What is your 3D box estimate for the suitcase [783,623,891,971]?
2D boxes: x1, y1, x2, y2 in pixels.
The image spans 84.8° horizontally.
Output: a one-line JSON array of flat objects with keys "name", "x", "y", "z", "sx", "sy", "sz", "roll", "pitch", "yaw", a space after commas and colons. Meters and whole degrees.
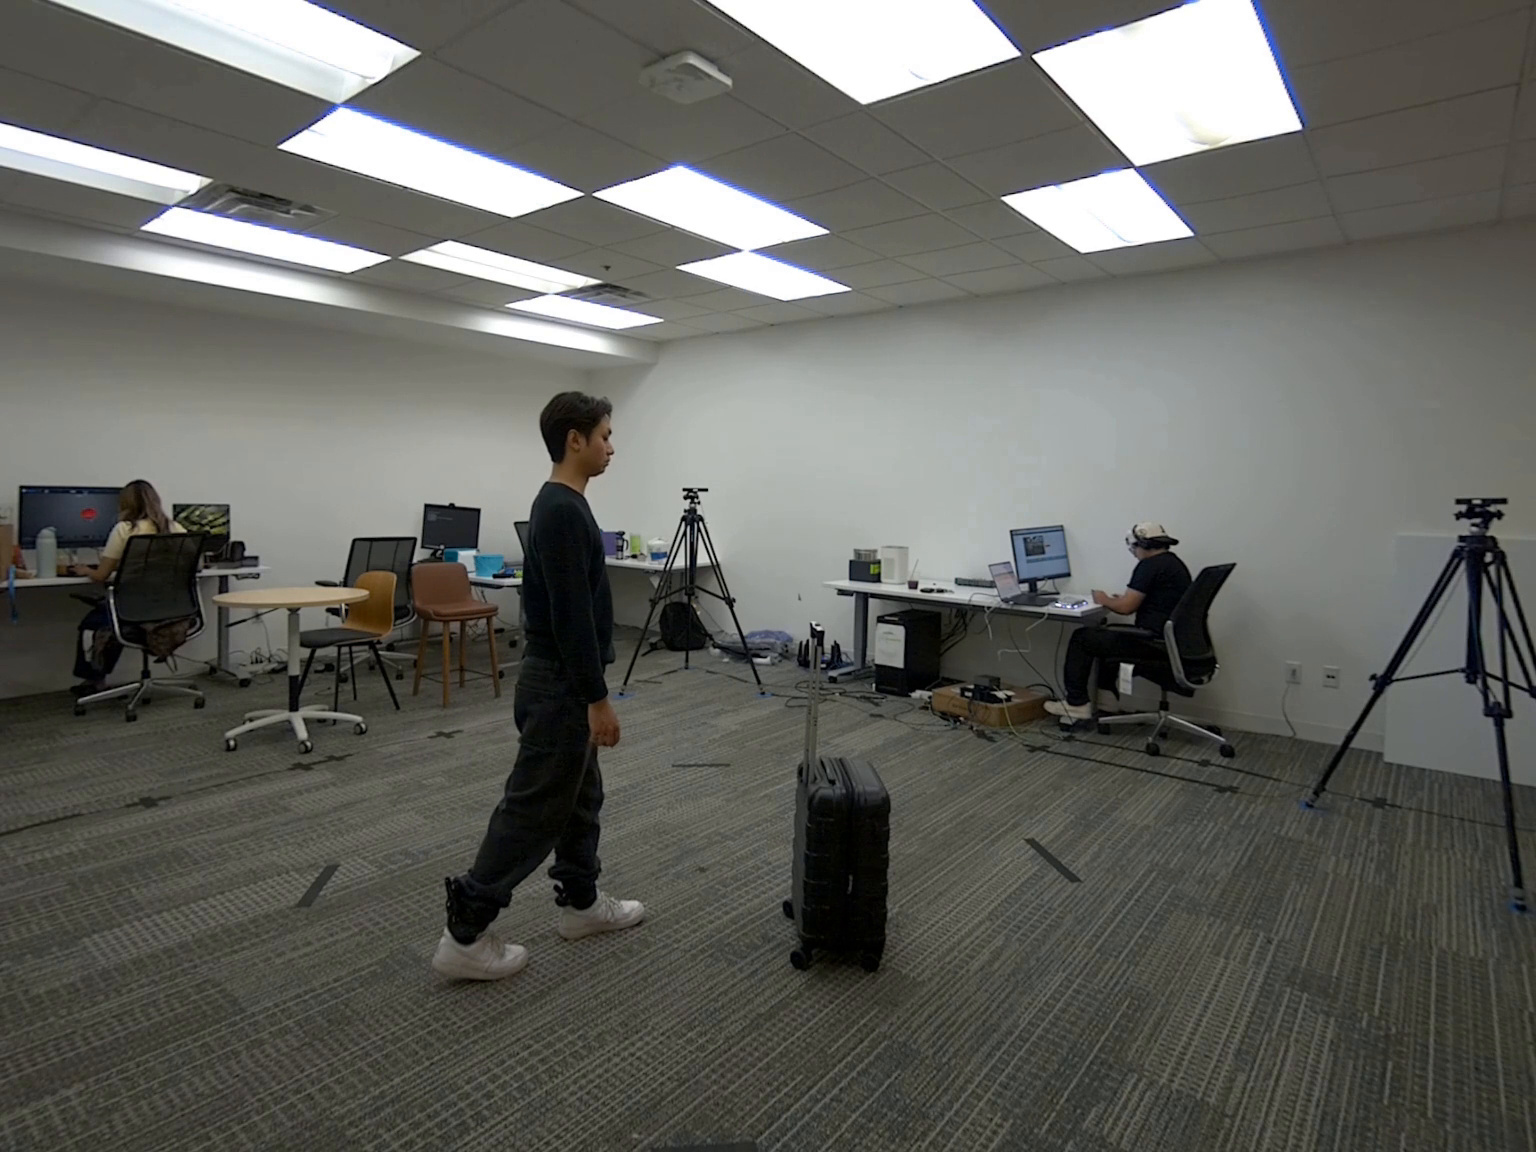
[{"name": "suitcase", "x": 0.233, "y": 0.662, "z": 2.597, "sx": 0.256, "sy": 0.975, "sz": 0.386, "roll": 6, "pitch": 4, "yaw": -3}]
